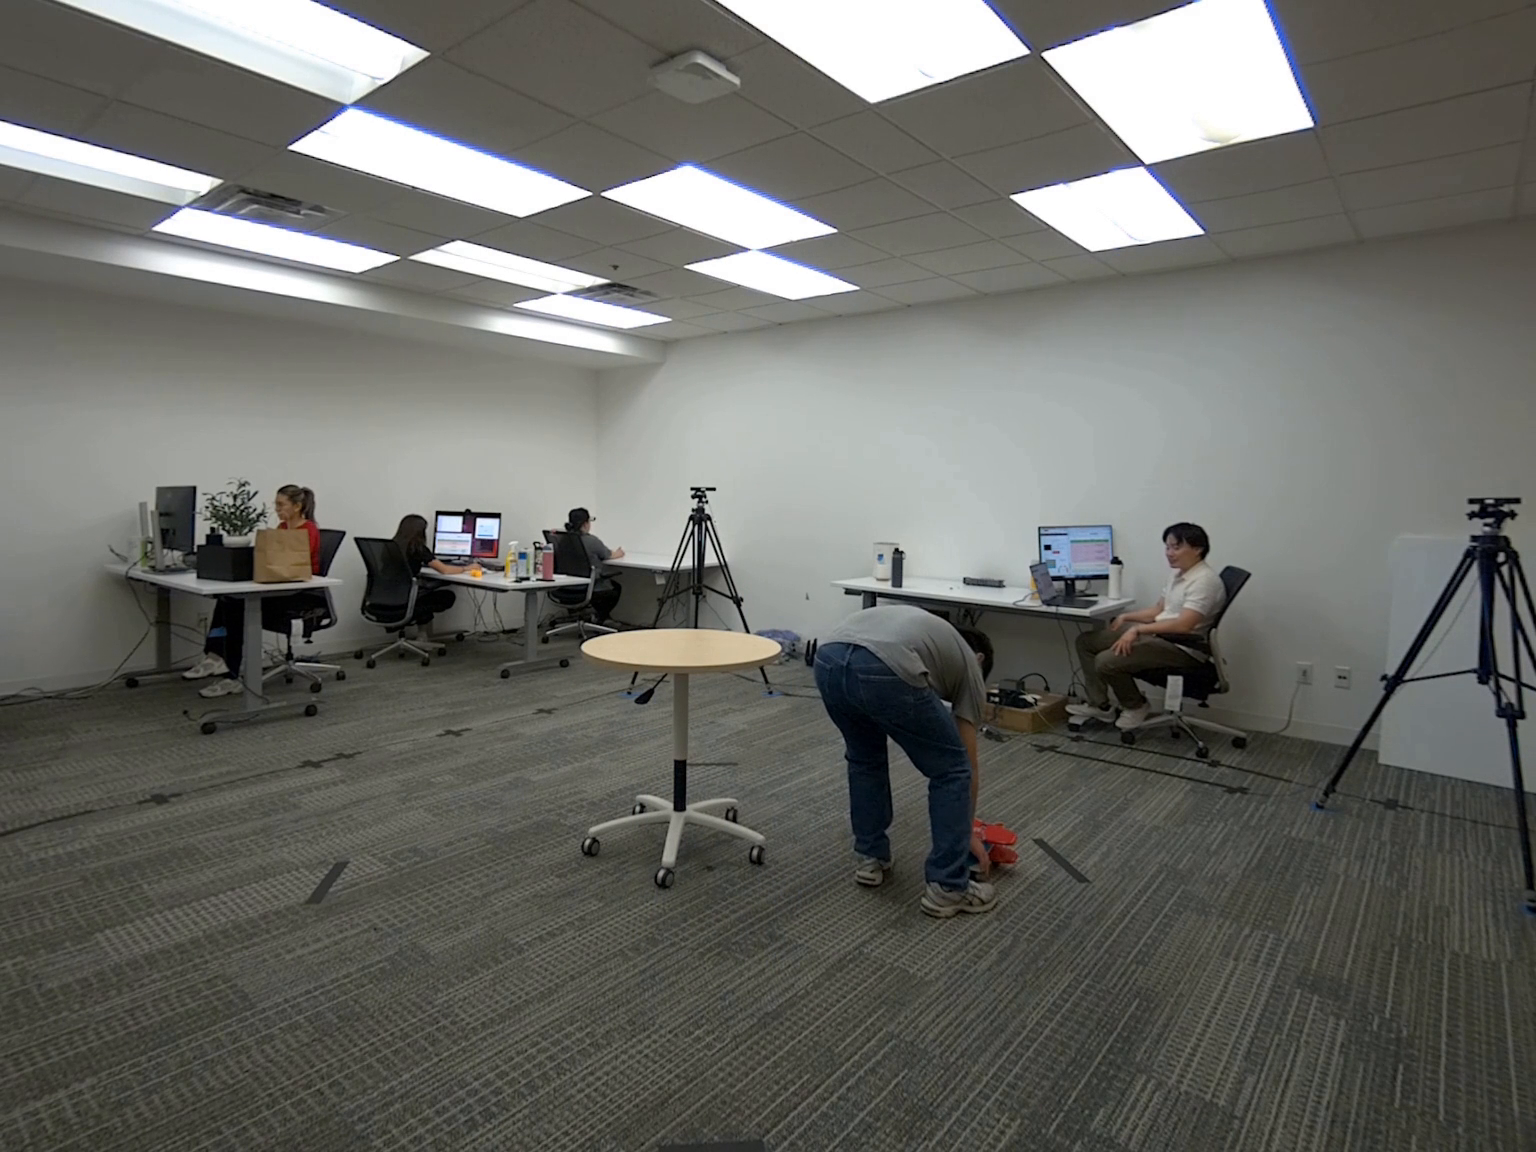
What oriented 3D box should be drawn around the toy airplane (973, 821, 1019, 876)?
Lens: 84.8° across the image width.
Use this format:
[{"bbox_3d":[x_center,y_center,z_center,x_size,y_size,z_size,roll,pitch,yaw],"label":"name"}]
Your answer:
[{"bbox_3d":[0.793,1.016,3.142,0.253,0.156,0.258,0,5,6],"label":"toy airplane"}]
